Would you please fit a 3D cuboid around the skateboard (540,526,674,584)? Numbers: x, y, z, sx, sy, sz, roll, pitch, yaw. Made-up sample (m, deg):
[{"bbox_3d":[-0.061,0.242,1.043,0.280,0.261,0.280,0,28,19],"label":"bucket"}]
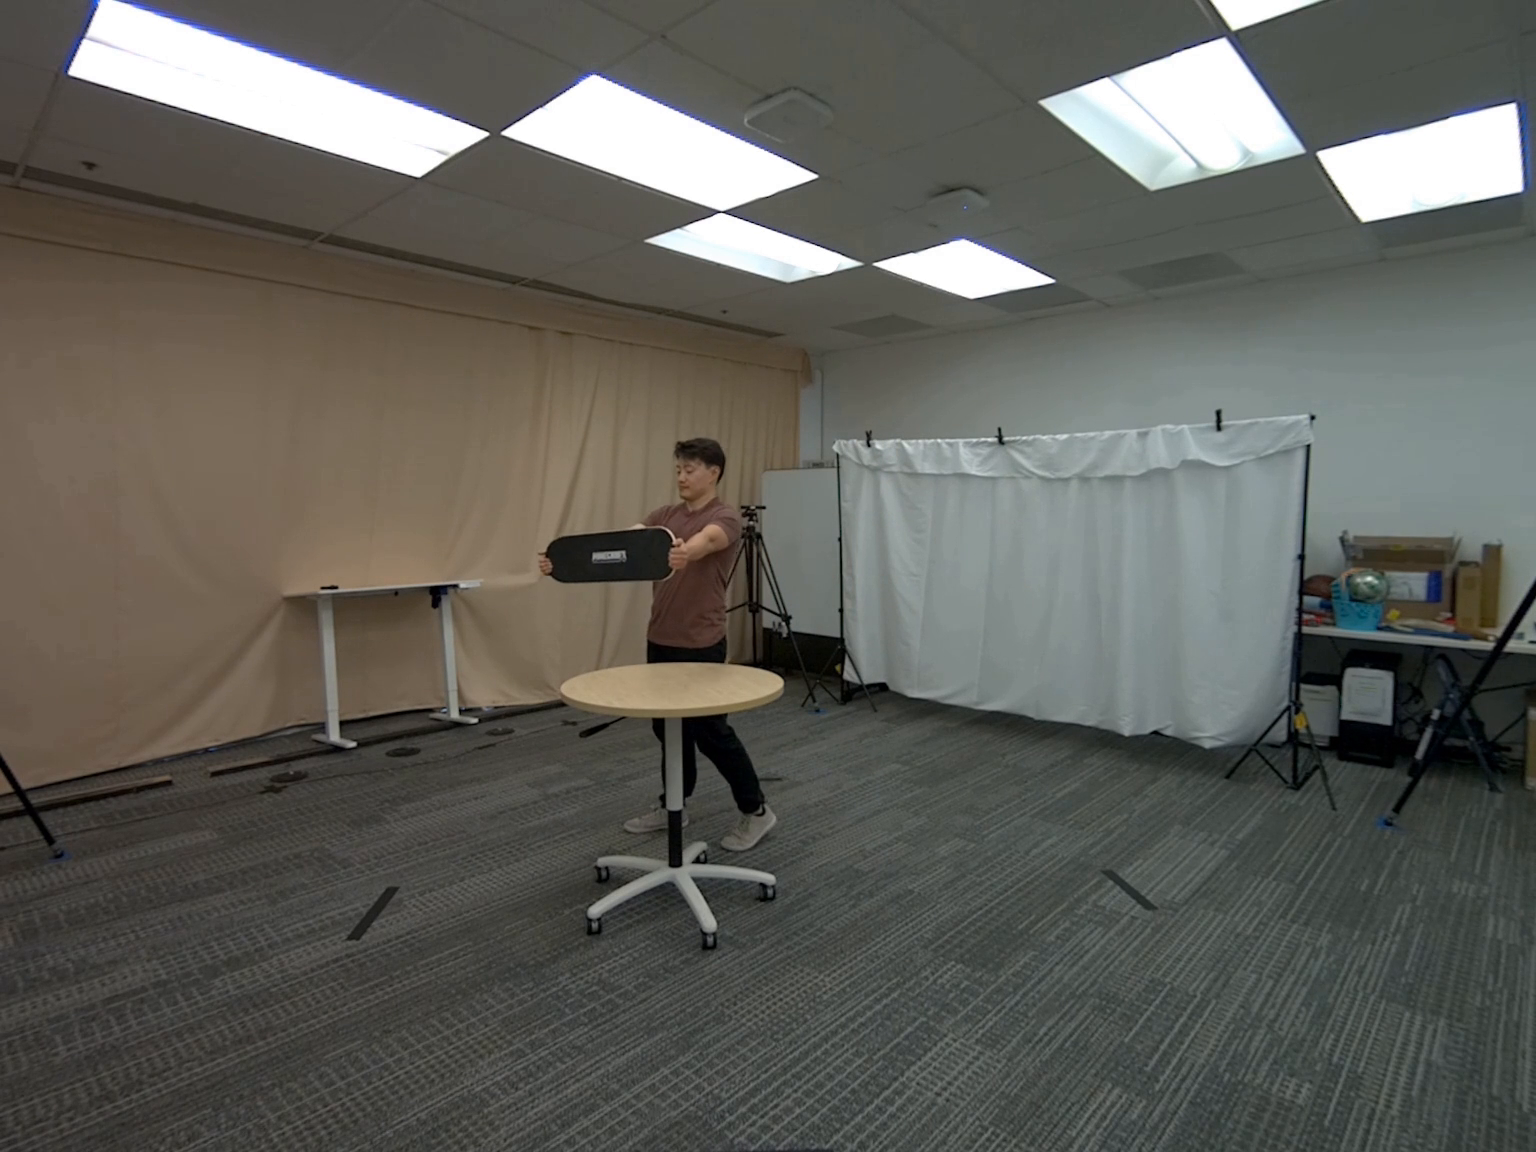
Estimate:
[{"bbox_3d":[-0.591,-0.077,3.200,0.810,0.193,0.107,-1,0,44],"label":"skateboard"}]
